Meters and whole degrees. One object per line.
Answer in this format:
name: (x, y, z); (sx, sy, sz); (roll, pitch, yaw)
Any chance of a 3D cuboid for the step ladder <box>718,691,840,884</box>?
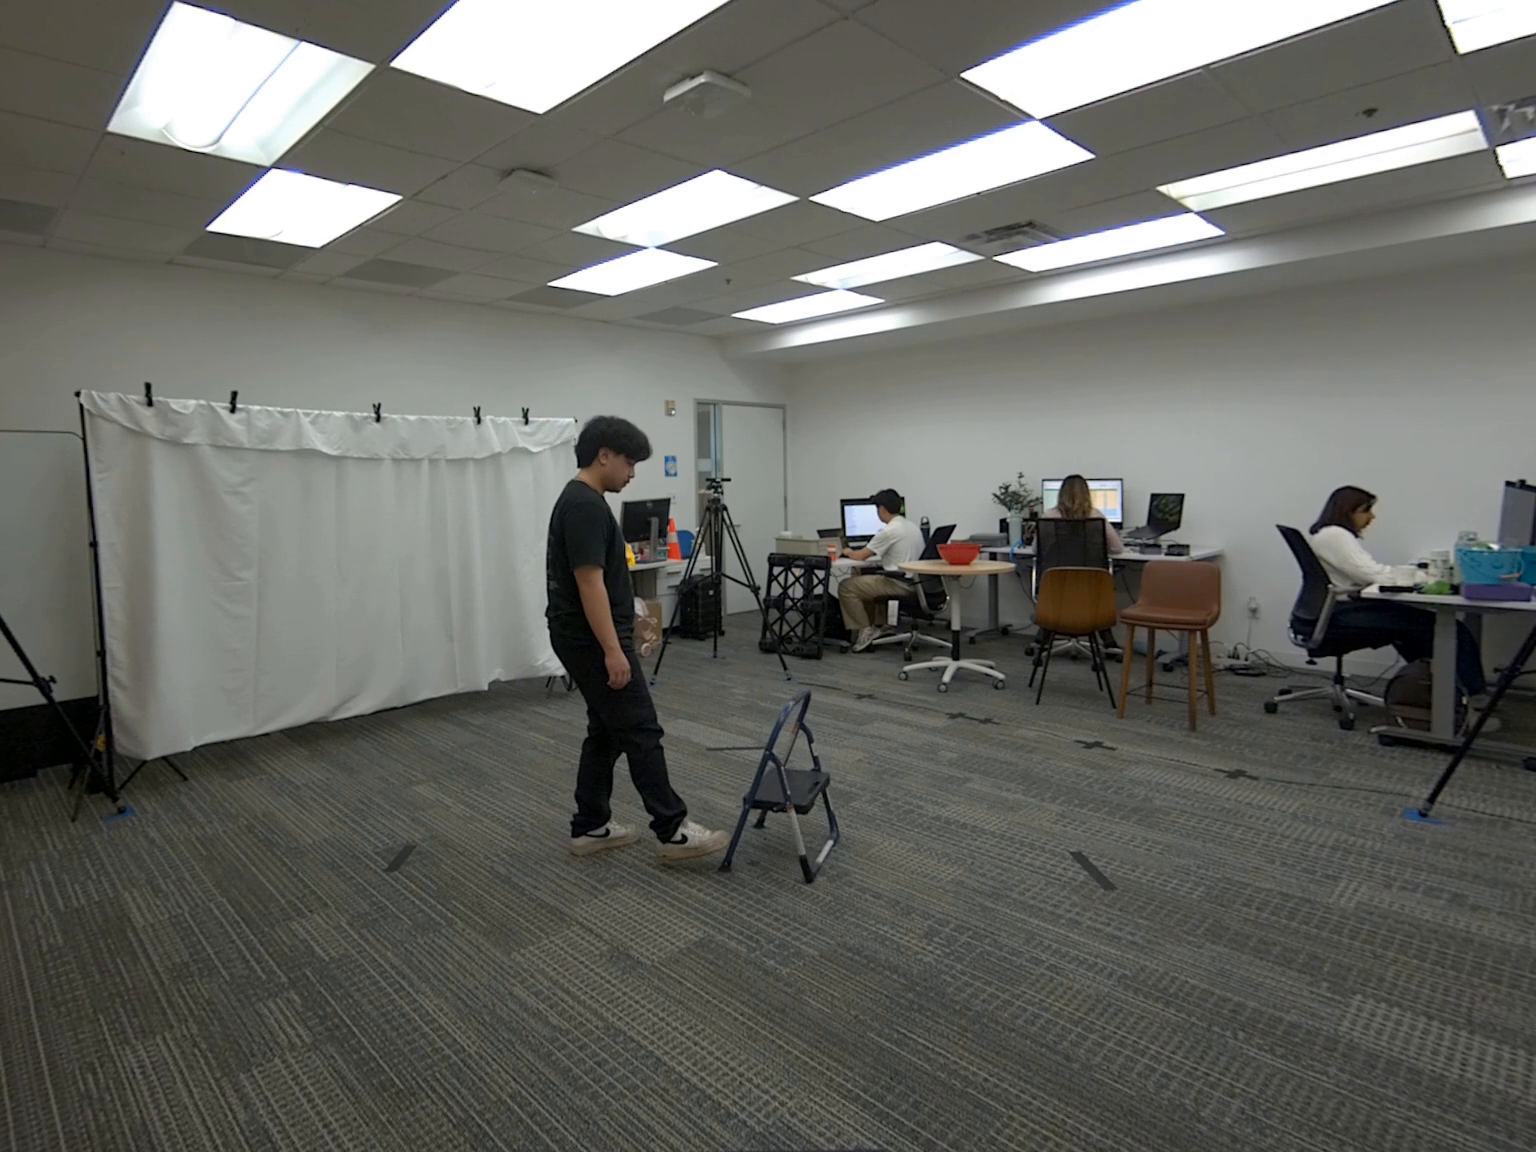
step ladder: (0.047, 0.726, 3.164); (0.356, 0.604, 0.424); (0, 5, 19)
